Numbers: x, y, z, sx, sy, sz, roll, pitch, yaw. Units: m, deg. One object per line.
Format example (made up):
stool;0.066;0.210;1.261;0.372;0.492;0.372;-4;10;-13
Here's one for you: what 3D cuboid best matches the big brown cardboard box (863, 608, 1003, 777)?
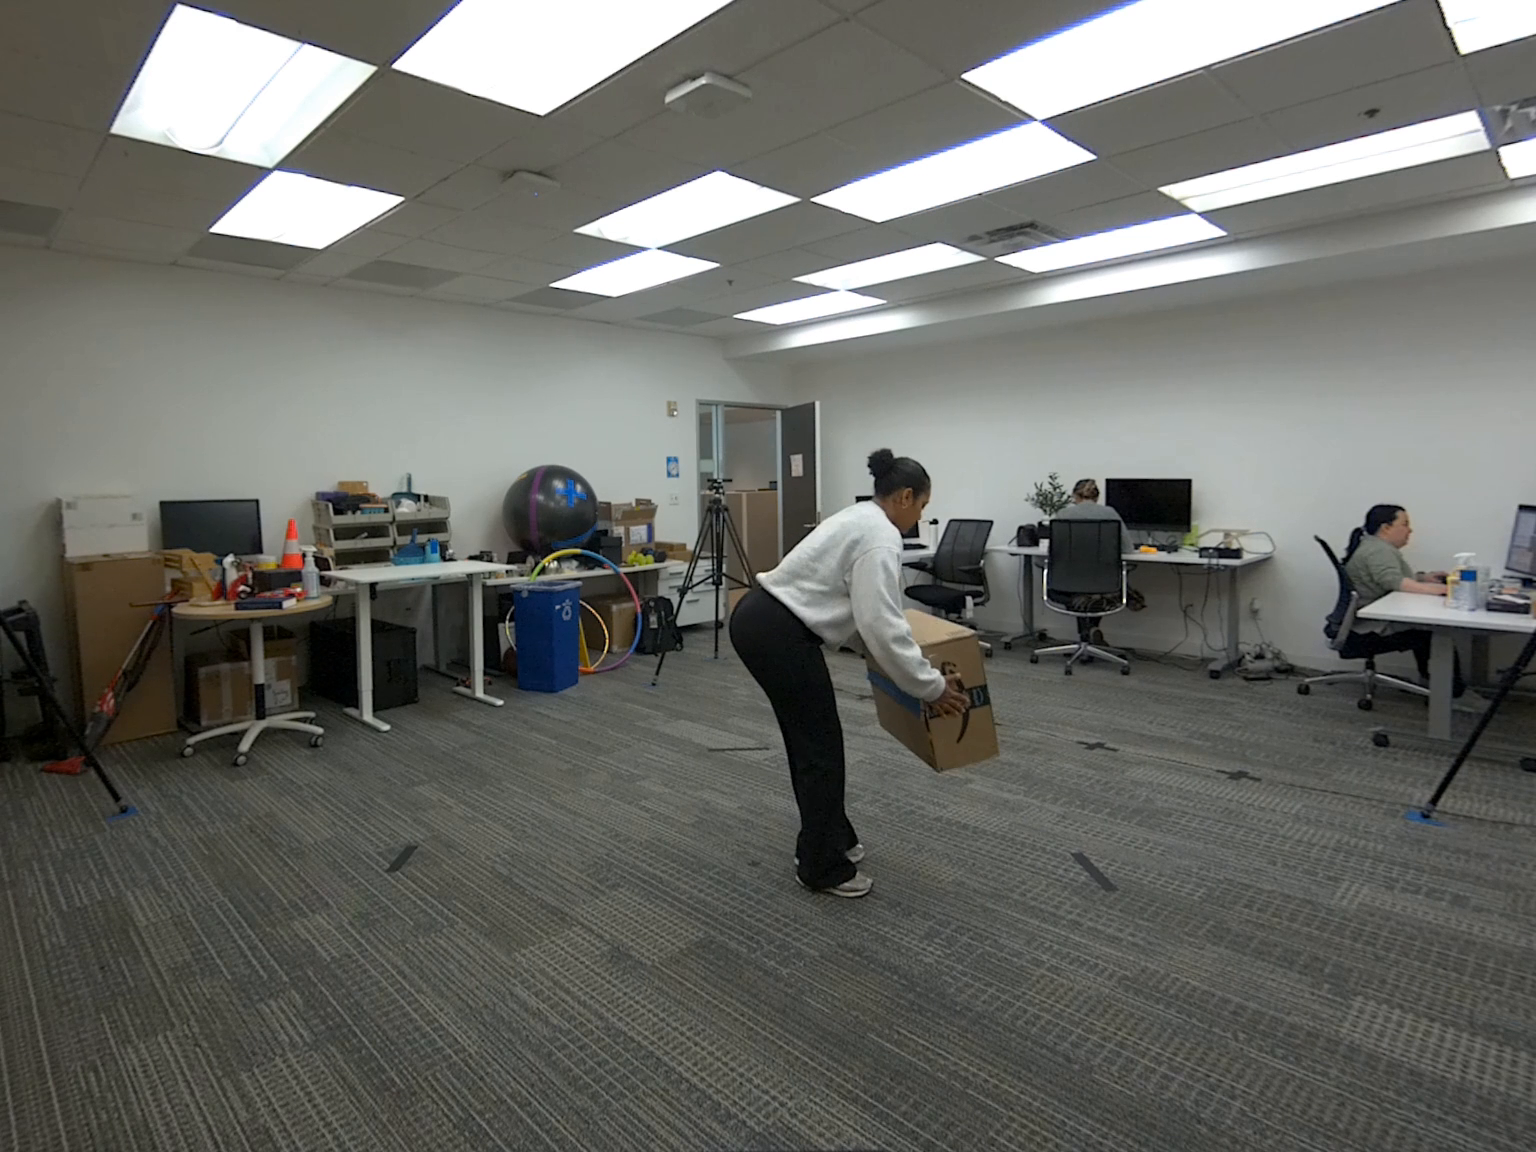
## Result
big brown cardboard box;0.537;0.374;2.969;0.232;0.416;0.594;-12;5;-7
